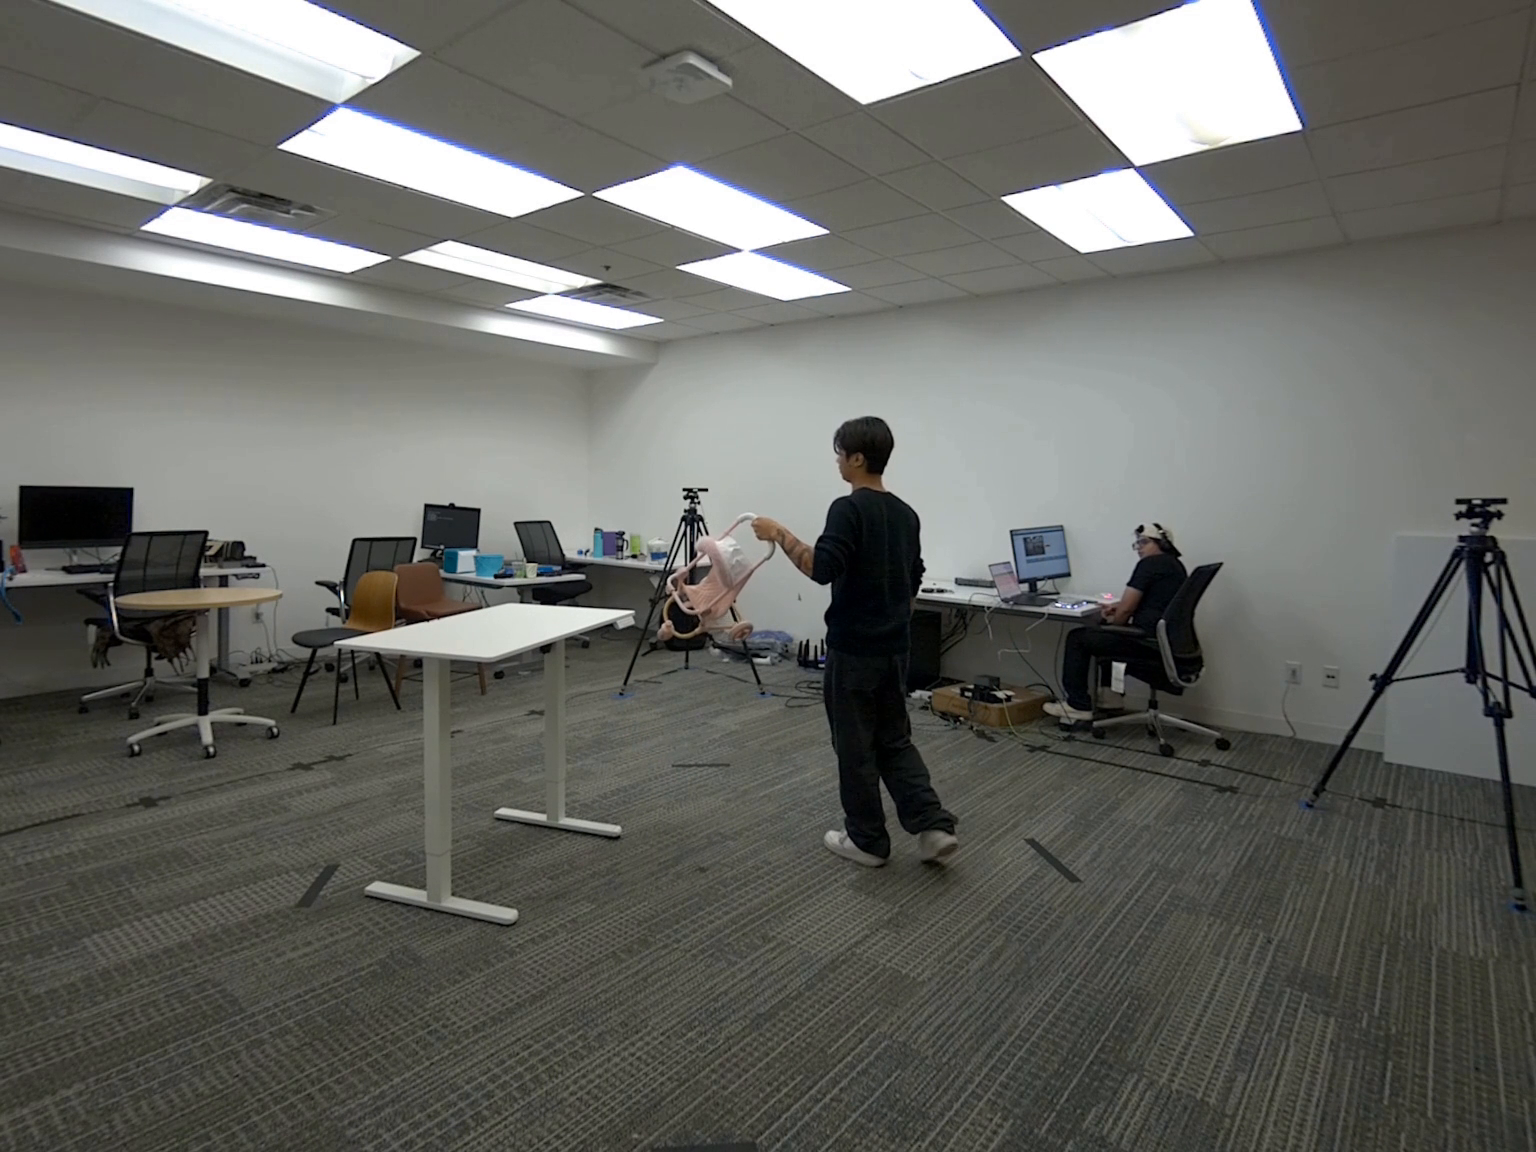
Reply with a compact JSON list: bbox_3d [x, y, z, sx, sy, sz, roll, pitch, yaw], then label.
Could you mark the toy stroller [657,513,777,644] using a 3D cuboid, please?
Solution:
[{"bbox_3d":[-0.225,0.035,3.168,0.334,0.526,0.292,-9,50,-28],"label":"toy stroller"}]
